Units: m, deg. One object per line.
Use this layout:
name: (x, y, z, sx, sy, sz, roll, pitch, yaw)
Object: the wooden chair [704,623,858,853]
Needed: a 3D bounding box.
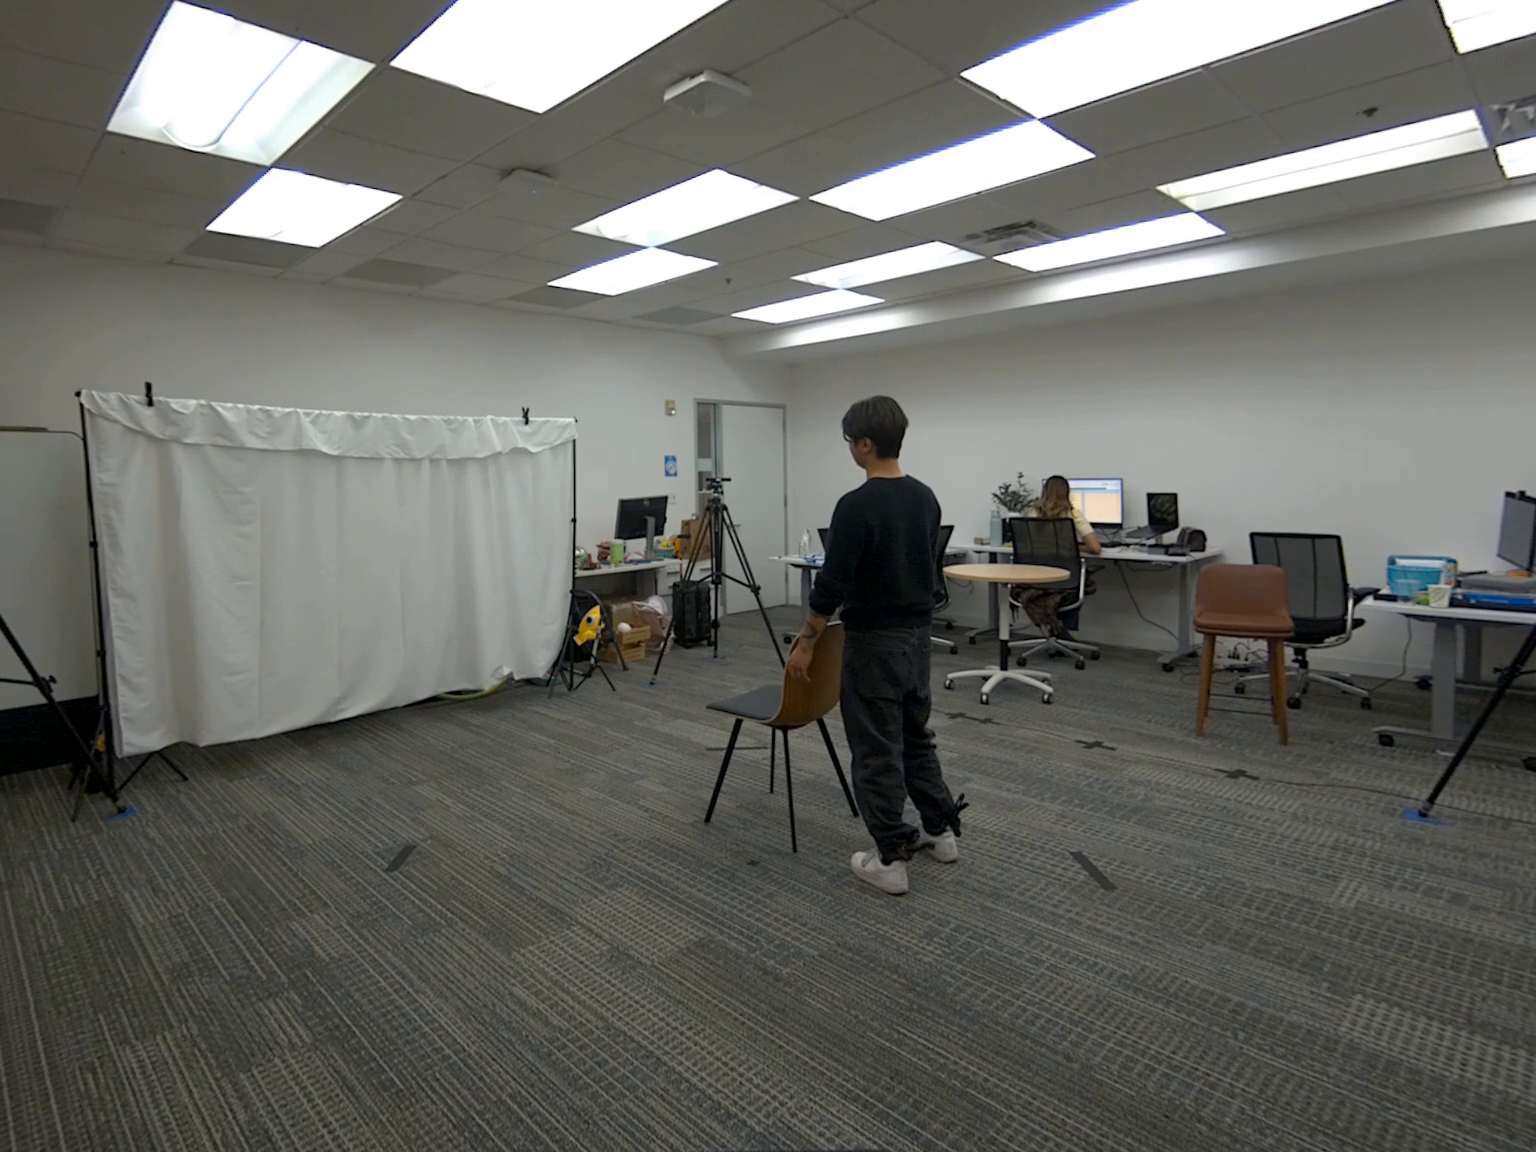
wooden chair: (0.048, 0.569, 3.463, 0.540, 0.872, 0.466, 9, 9, 38)
